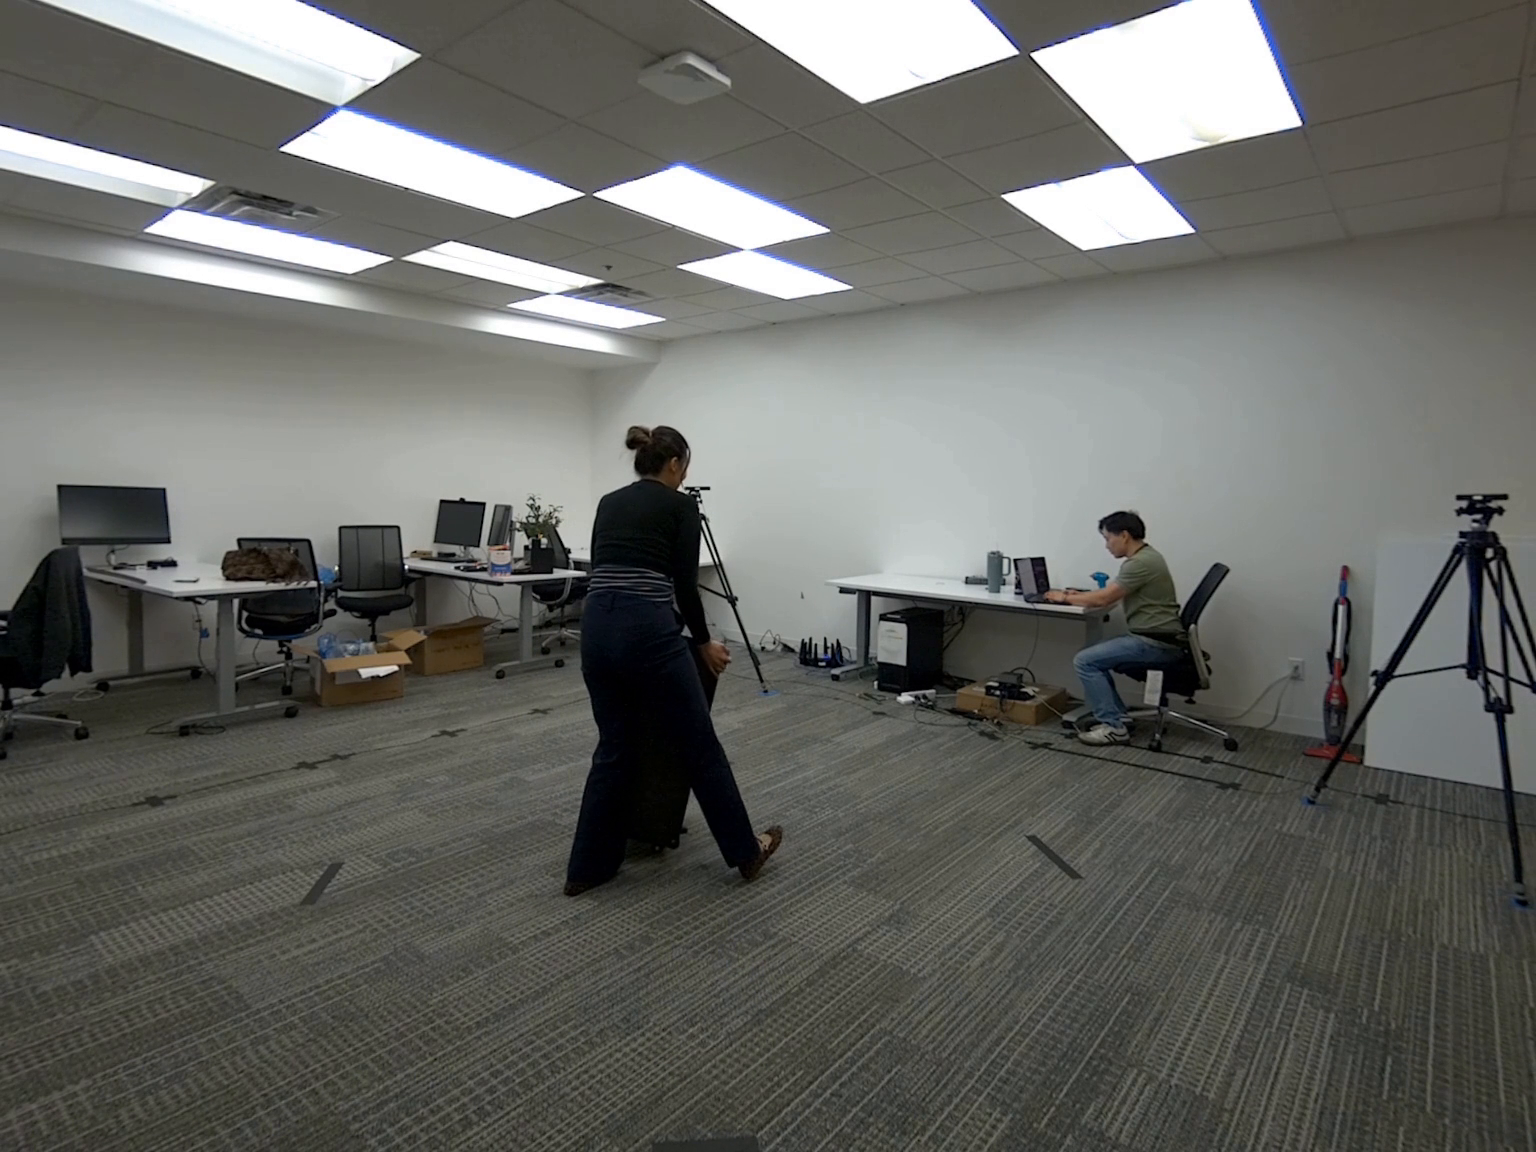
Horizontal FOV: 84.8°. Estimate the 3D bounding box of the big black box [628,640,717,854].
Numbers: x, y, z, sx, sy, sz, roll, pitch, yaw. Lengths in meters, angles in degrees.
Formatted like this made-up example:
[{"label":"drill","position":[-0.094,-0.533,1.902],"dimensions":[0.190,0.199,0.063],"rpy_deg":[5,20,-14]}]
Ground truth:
[{"label":"big black box","position":[-0.460,0.599,3.354],"dimensions":[0.393,0.860,0.526],"rpy_deg":[15,2,-7]}]
